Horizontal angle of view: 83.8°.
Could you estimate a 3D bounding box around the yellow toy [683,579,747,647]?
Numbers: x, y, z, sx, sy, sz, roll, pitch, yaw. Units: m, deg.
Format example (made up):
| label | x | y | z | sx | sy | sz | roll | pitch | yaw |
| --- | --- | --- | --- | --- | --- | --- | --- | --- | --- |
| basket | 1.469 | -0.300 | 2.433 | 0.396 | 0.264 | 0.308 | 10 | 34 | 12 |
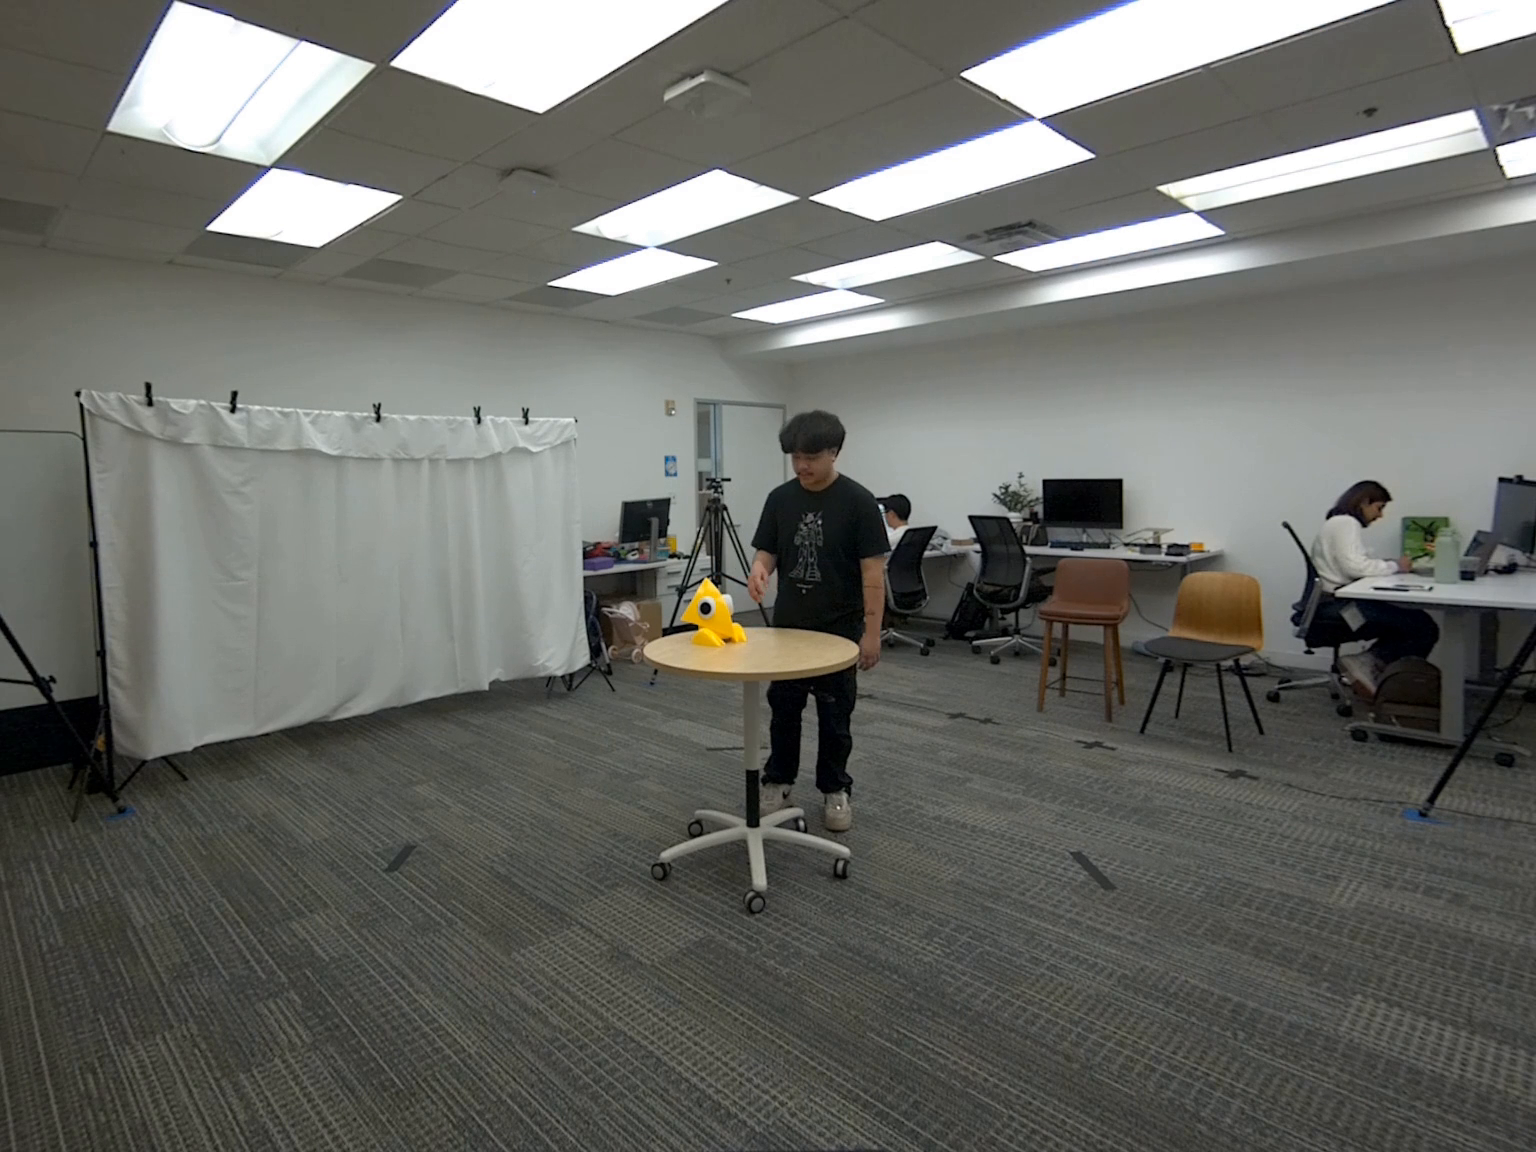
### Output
| label | x | y | z | sx | sy | sz | roll | pitch | yaw |
| --- | --- | --- | --- | --- | --- | --- | --- | --- | --- |
| yellow toy | -0.187 | 0.126 | 3.169 | 0.199 | 0.230 | 0.199 | -5 | 7 | -42 |
